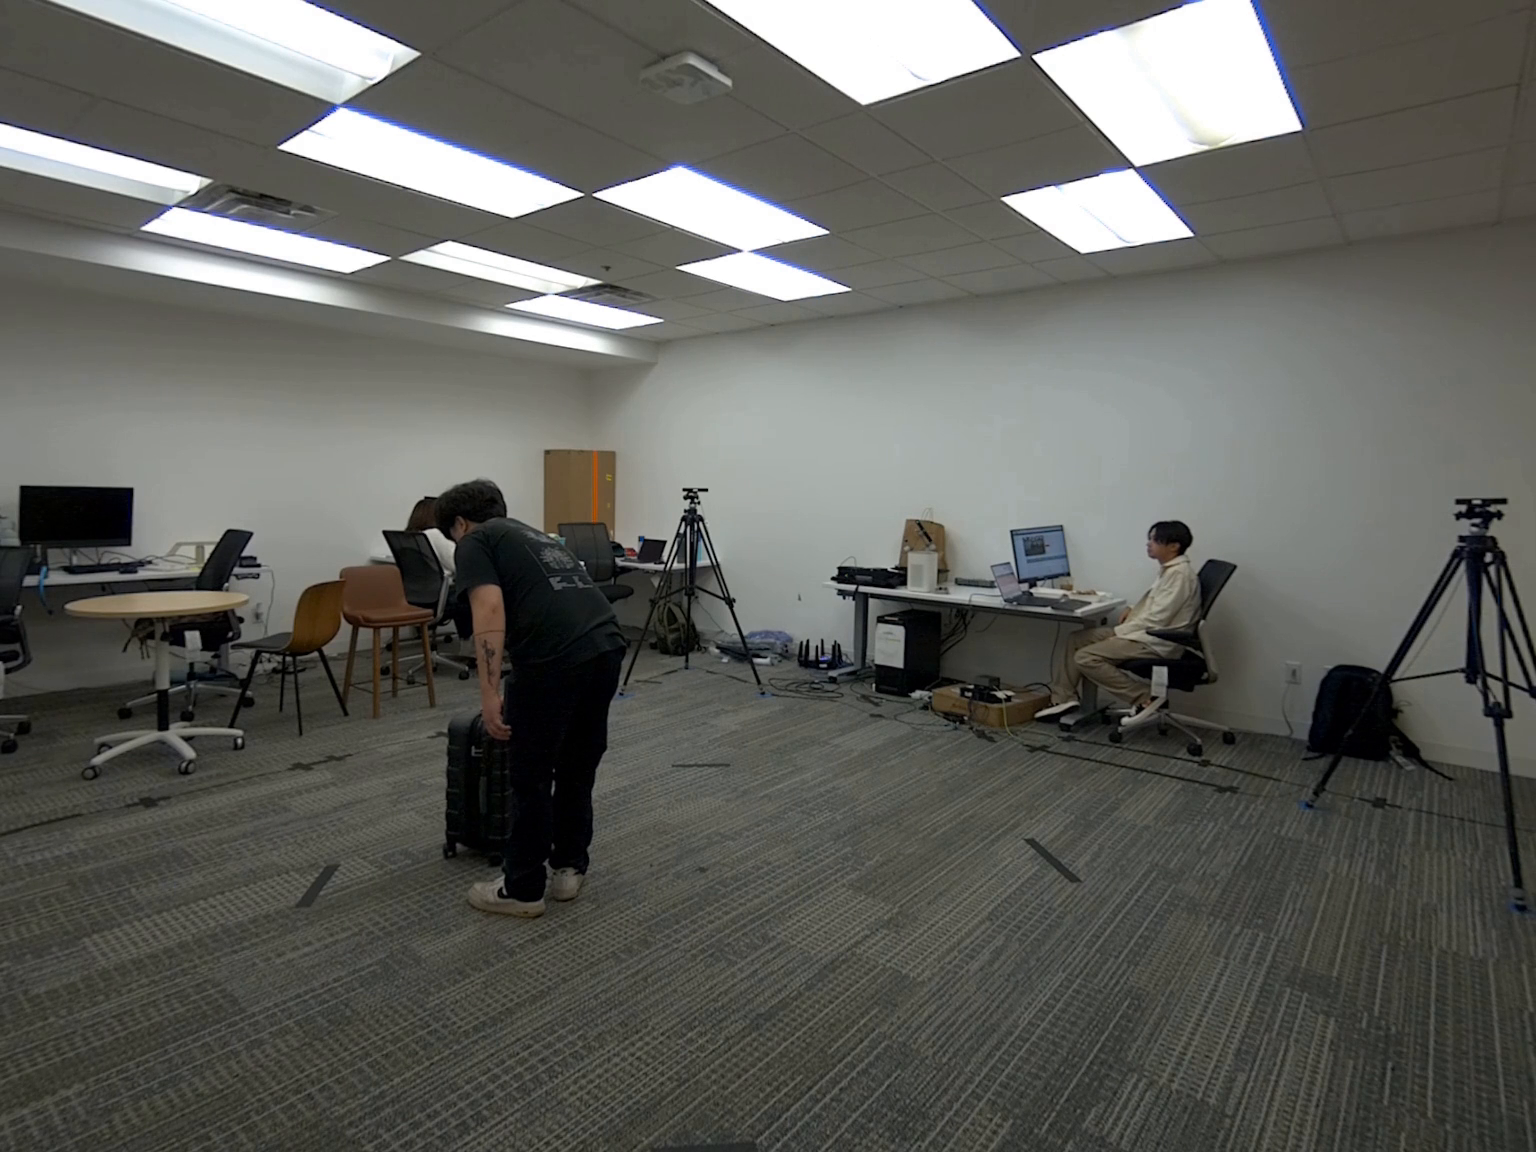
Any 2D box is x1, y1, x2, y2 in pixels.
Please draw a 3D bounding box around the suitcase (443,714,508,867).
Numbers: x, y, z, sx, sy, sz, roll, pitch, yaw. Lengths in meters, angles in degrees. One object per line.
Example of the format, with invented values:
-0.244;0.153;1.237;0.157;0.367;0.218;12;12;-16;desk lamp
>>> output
-1.066;0.769;3.267;0.252;0.548;0.371;1;3;11;suitcase
